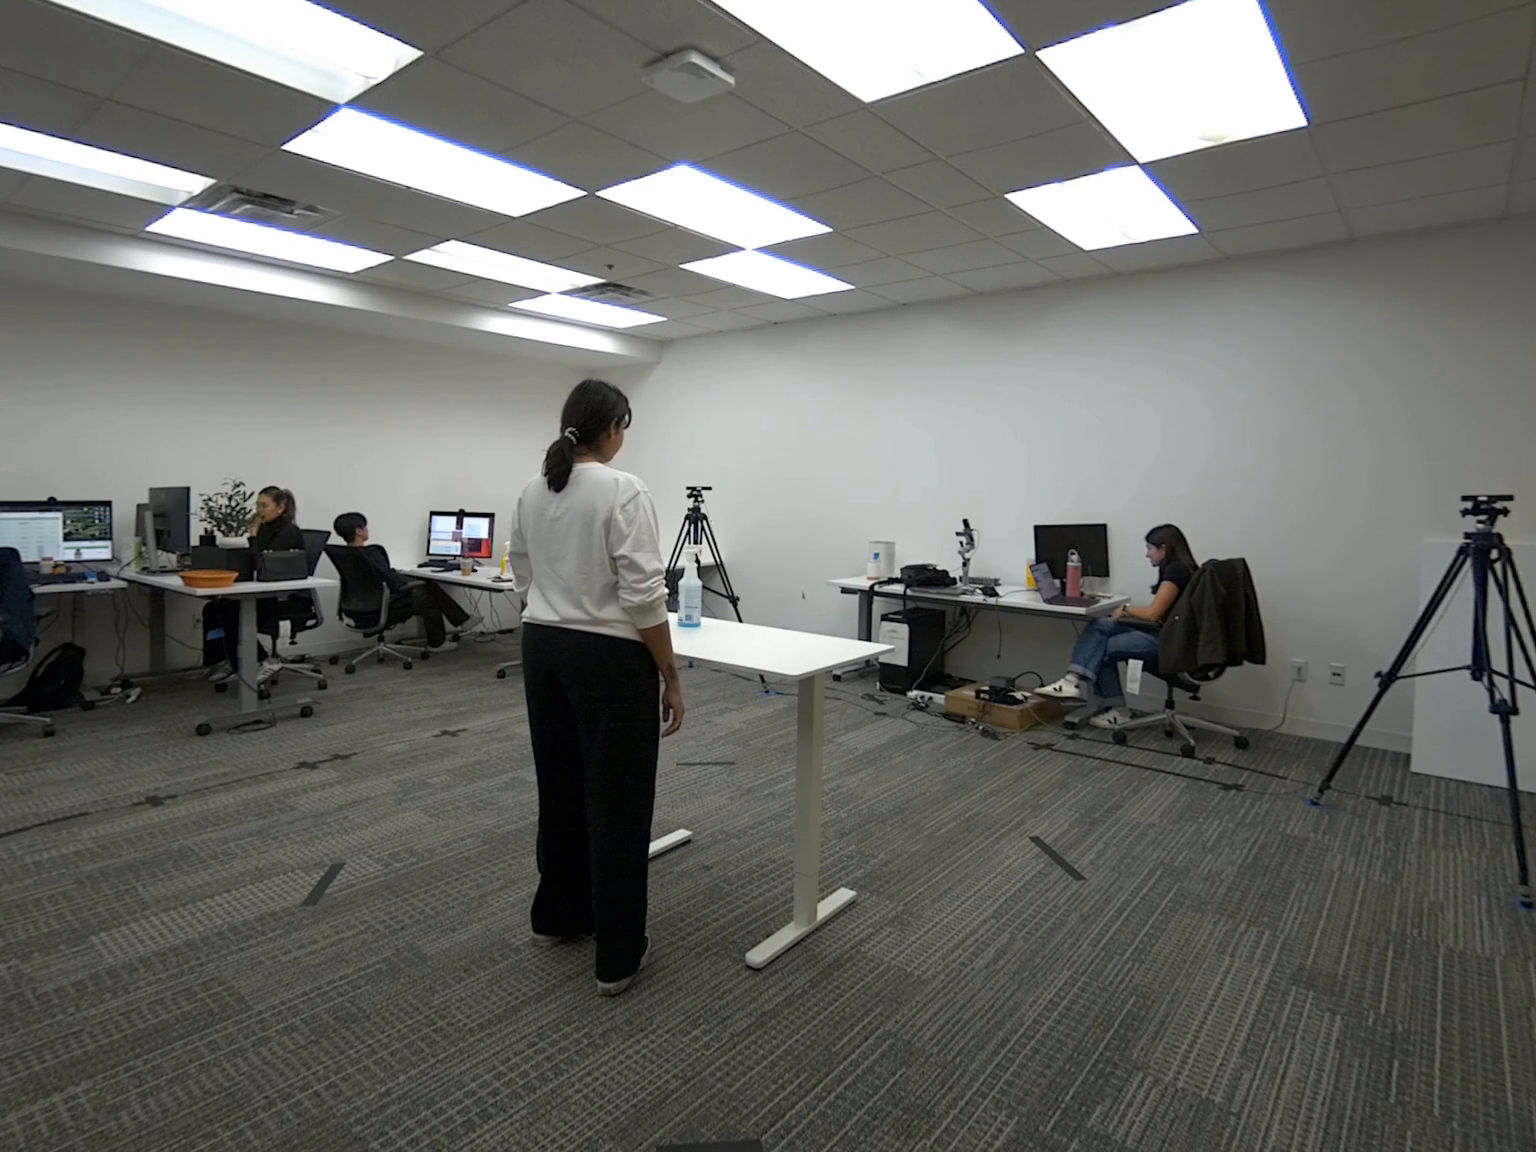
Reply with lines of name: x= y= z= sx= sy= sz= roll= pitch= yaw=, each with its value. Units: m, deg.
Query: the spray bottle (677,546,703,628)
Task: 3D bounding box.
spray bottle: x=-0.278 y=0.034 z=3.097 sx=0.085 sy=0.296 sz=0.093 roll=1 pitch=5 yaw=-26
